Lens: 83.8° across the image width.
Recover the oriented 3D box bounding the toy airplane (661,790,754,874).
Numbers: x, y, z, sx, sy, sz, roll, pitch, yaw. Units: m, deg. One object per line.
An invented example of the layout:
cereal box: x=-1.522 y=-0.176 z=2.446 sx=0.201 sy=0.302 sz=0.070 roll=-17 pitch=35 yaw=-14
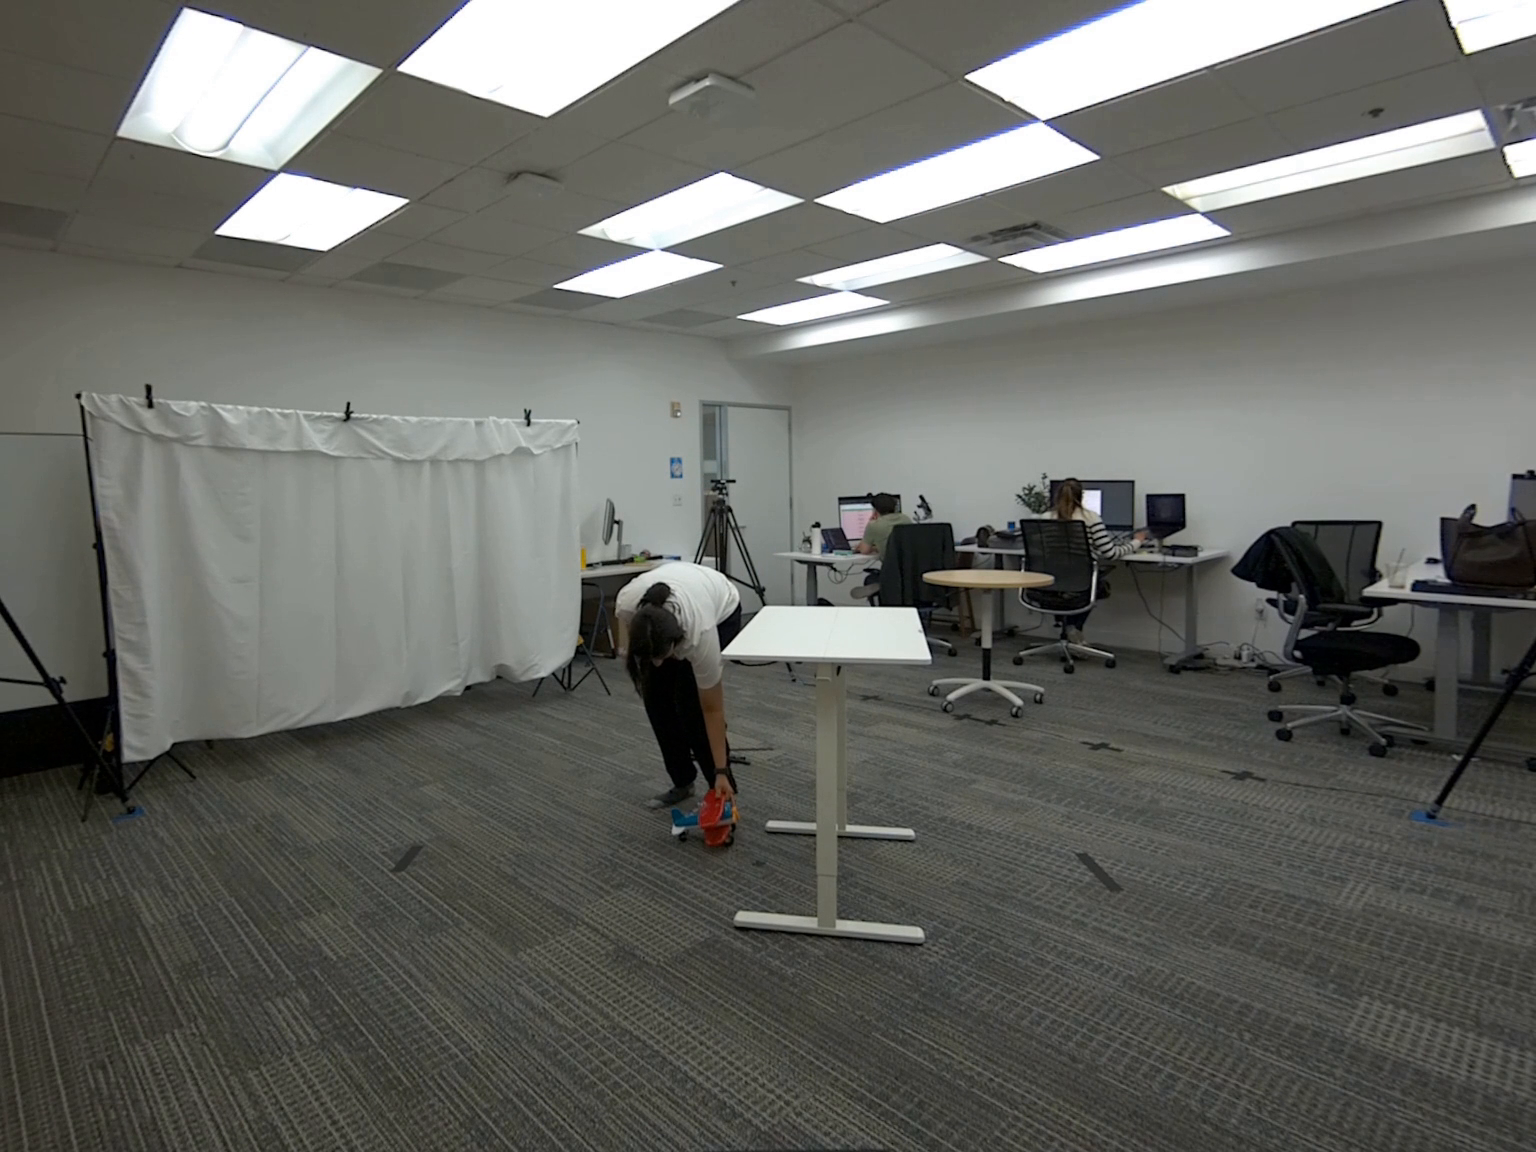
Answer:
toy airplane: x=-0.235 y=0.966 z=3.283 sx=0.254 sy=0.154 sz=0.259 roll=-10 pitch=15 yaw=-26
